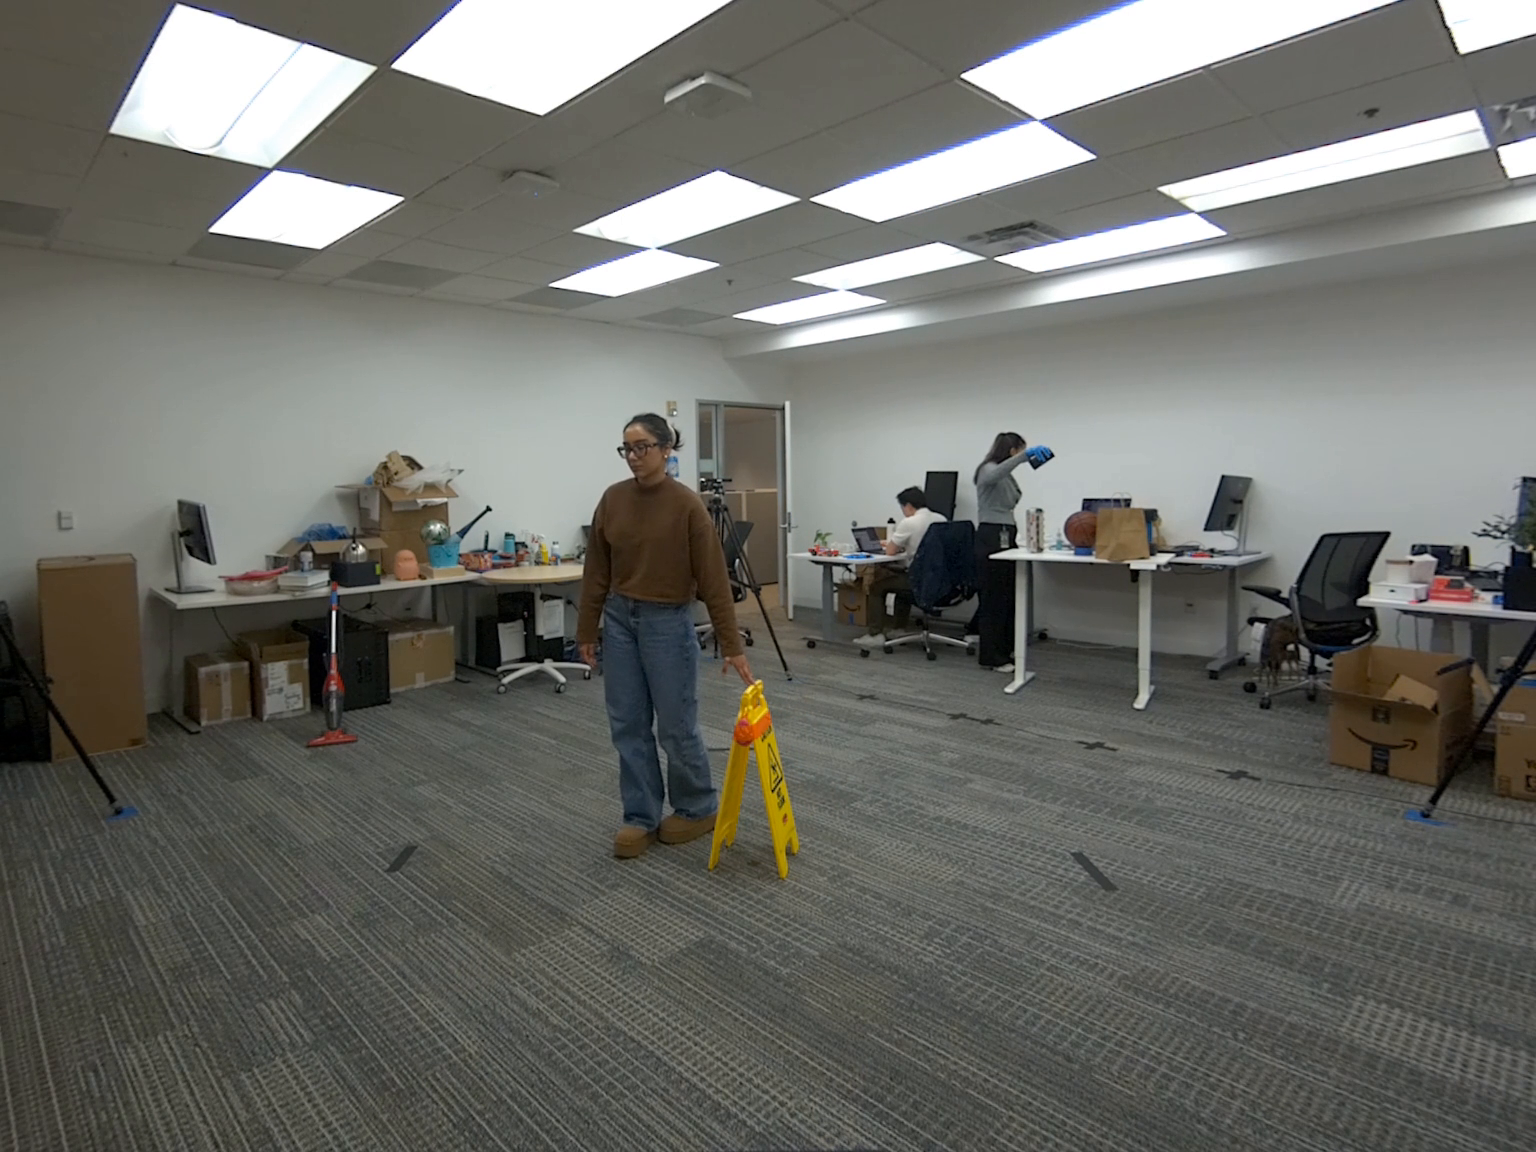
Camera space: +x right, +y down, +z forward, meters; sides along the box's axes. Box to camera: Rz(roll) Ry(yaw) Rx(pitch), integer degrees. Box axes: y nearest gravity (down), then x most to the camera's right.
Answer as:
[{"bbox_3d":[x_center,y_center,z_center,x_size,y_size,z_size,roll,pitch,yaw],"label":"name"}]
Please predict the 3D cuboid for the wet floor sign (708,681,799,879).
[{"bbox_3d":[-0.052,0.719,3.125,0.294,0.644,0.278,0,3,16],"label":"wet floor sign"}]
